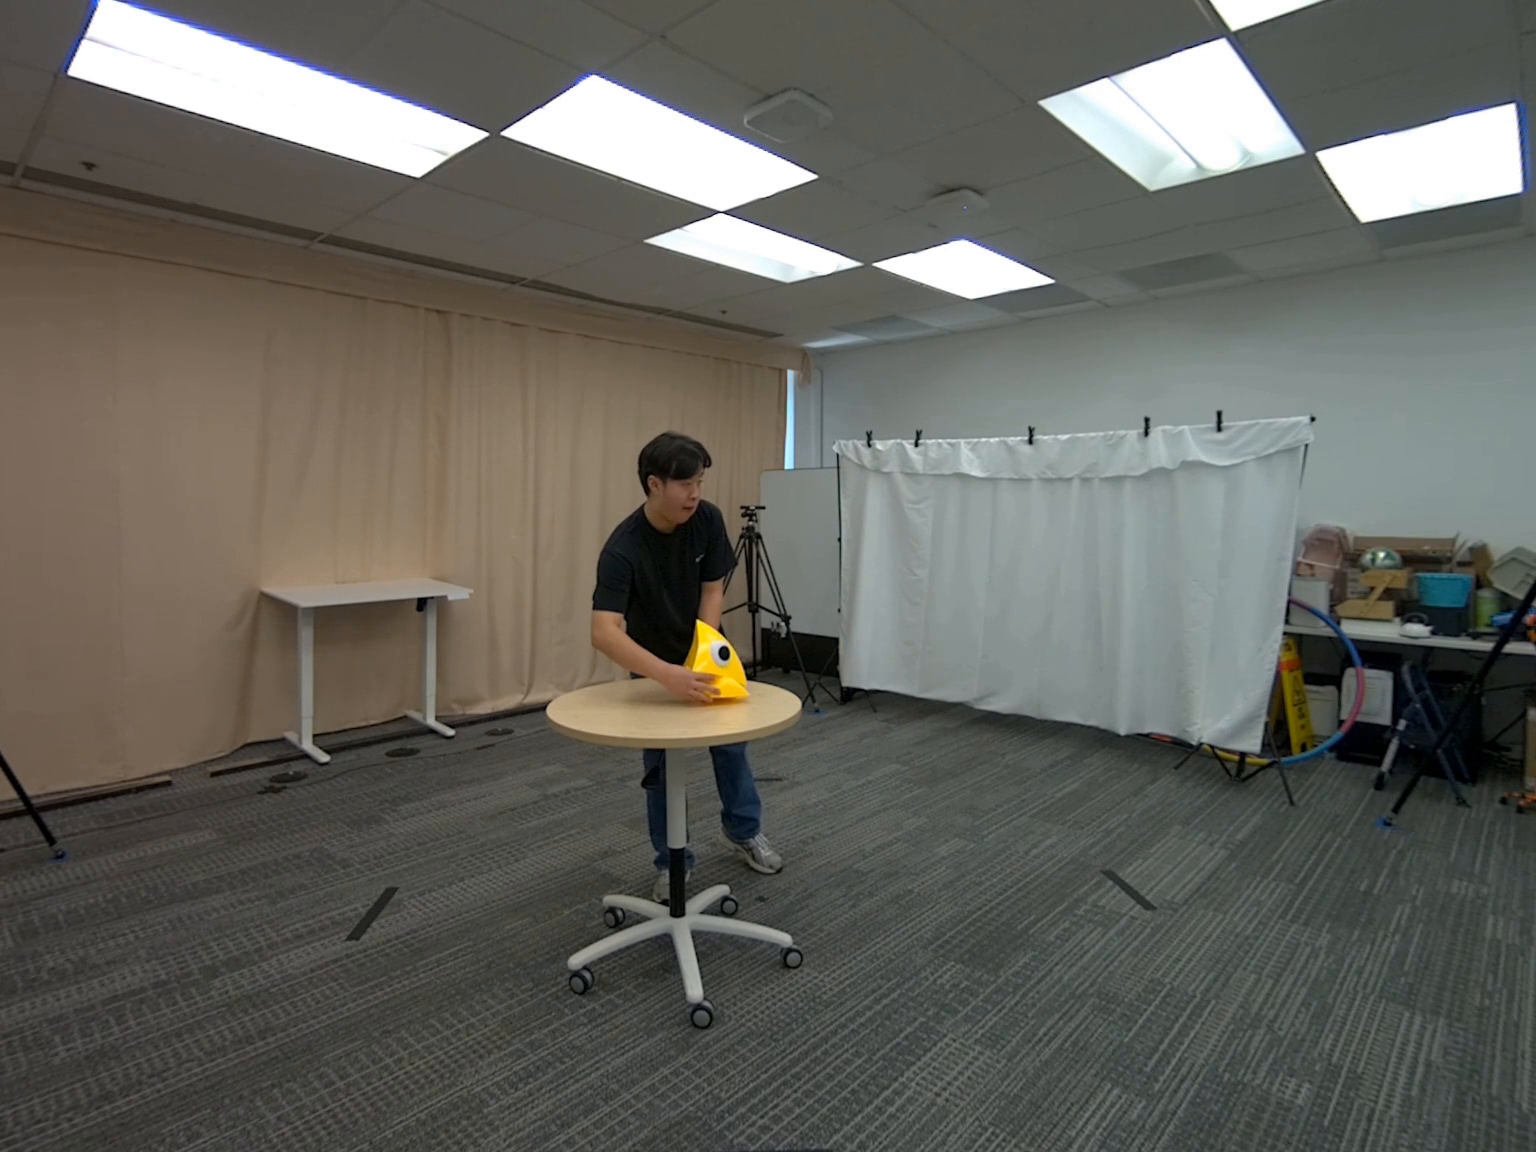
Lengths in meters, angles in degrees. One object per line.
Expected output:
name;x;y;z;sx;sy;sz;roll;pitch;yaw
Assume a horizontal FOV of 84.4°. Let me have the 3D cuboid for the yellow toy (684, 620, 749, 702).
yellow toy;-0.154;0.249;2.609;0.190;0.231;0.207;-1;-3;-13
